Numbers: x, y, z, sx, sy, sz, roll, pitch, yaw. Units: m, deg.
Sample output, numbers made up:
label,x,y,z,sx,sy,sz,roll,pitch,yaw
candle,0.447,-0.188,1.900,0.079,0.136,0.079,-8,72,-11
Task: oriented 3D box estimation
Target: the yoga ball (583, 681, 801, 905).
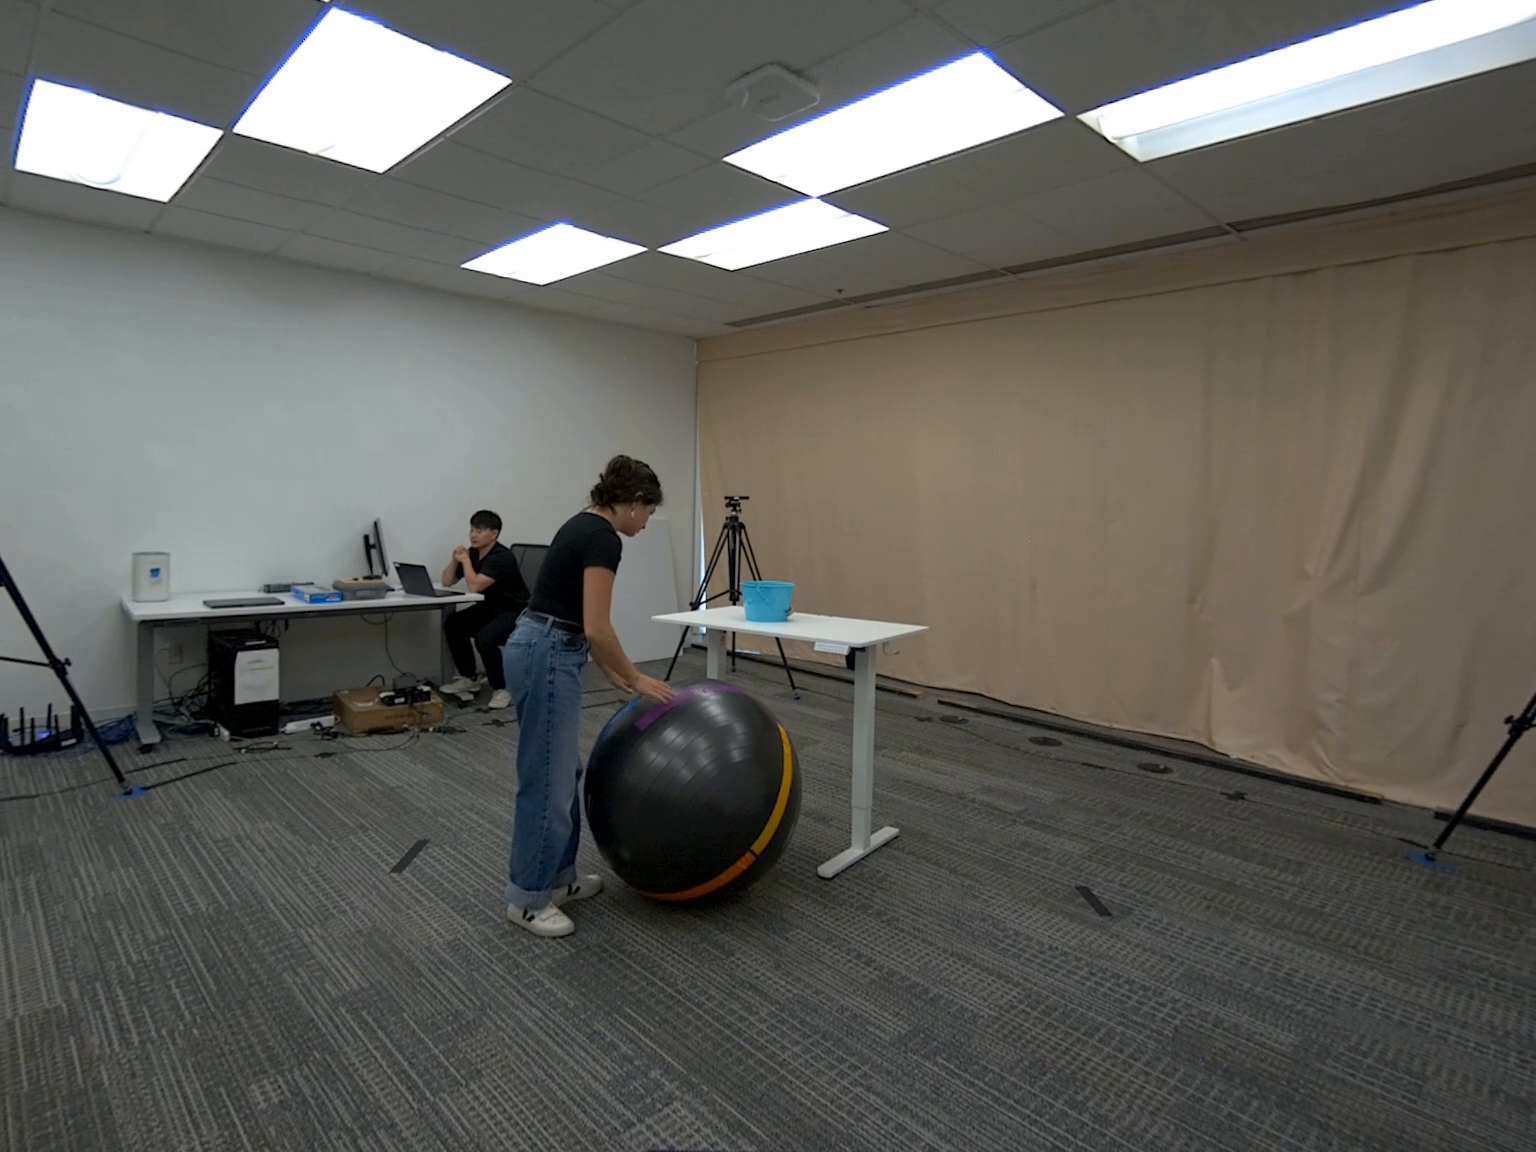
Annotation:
label,x,y,z,sx,sy,sz,roll,pitch,yaw
yoga ball,-0.264,0.743,2.948,0.757,0.756,0.761,1,4,-1
